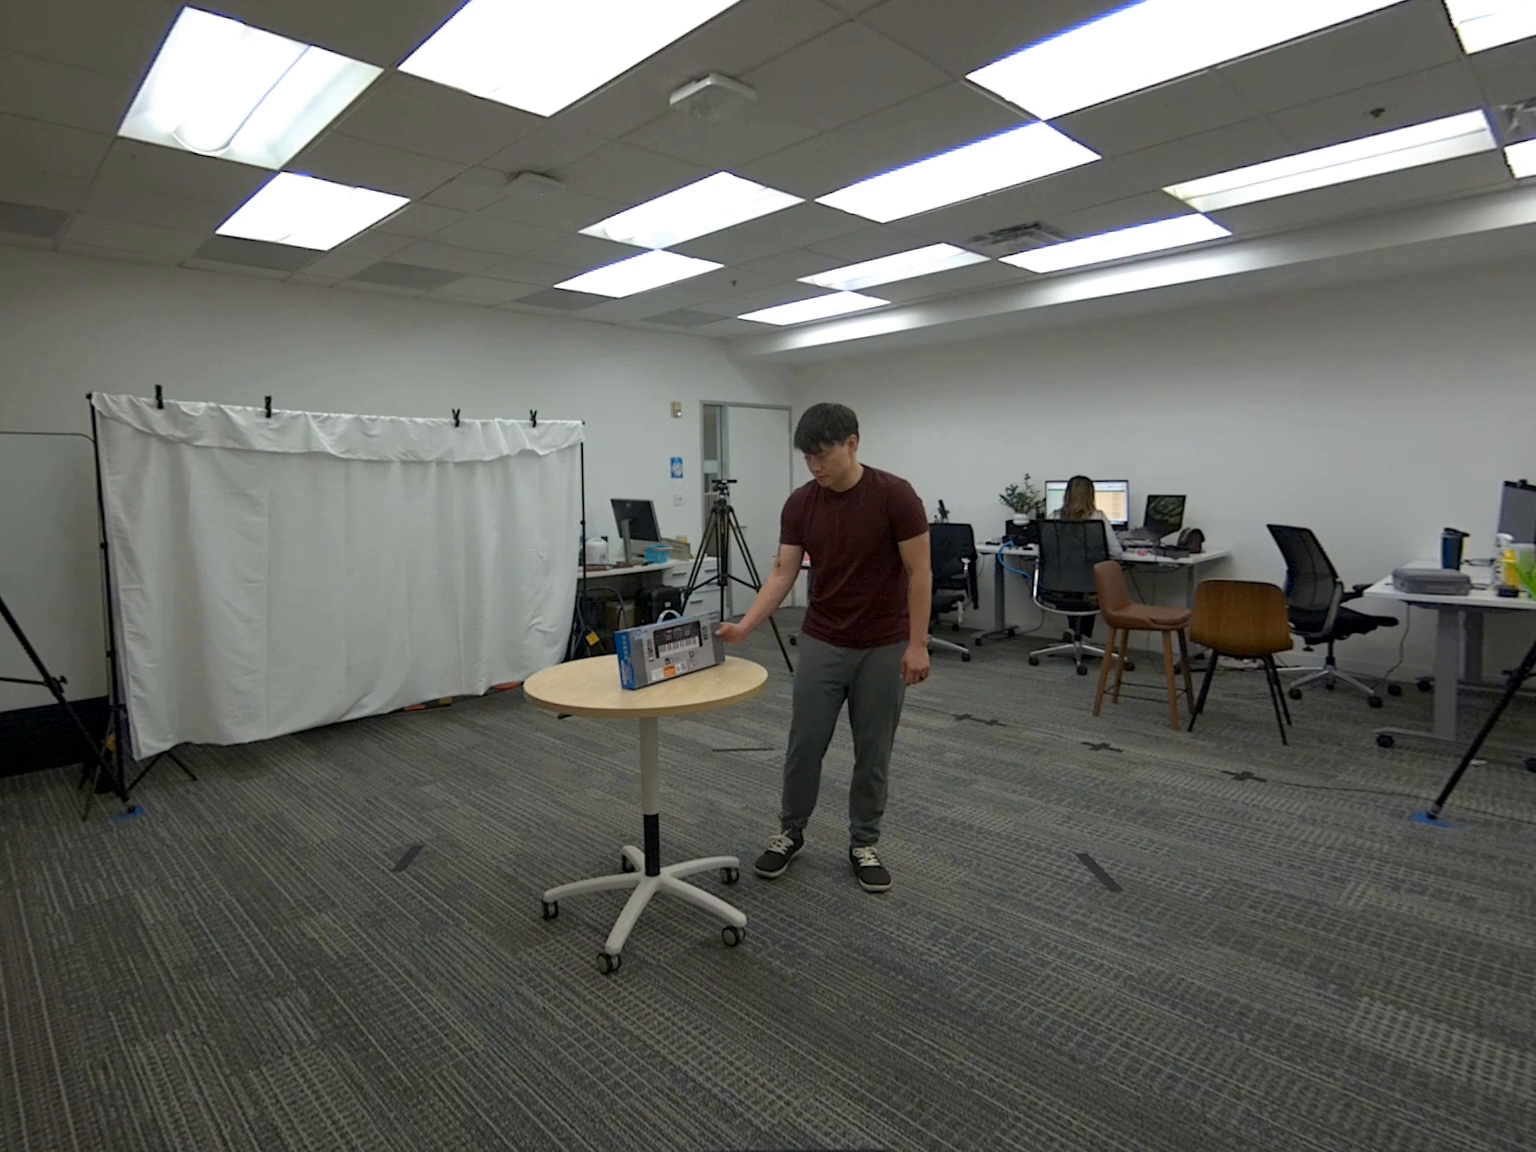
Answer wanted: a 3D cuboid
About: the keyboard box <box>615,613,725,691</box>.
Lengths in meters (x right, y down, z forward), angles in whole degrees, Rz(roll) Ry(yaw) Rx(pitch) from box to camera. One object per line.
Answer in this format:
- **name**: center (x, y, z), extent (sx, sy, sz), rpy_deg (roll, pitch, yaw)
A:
- **keyboard box**: center (-0.300, 0.230, 2.703), extent (0.060, 0.176, 0.426), rpy_deg (-7, 1, 36)
